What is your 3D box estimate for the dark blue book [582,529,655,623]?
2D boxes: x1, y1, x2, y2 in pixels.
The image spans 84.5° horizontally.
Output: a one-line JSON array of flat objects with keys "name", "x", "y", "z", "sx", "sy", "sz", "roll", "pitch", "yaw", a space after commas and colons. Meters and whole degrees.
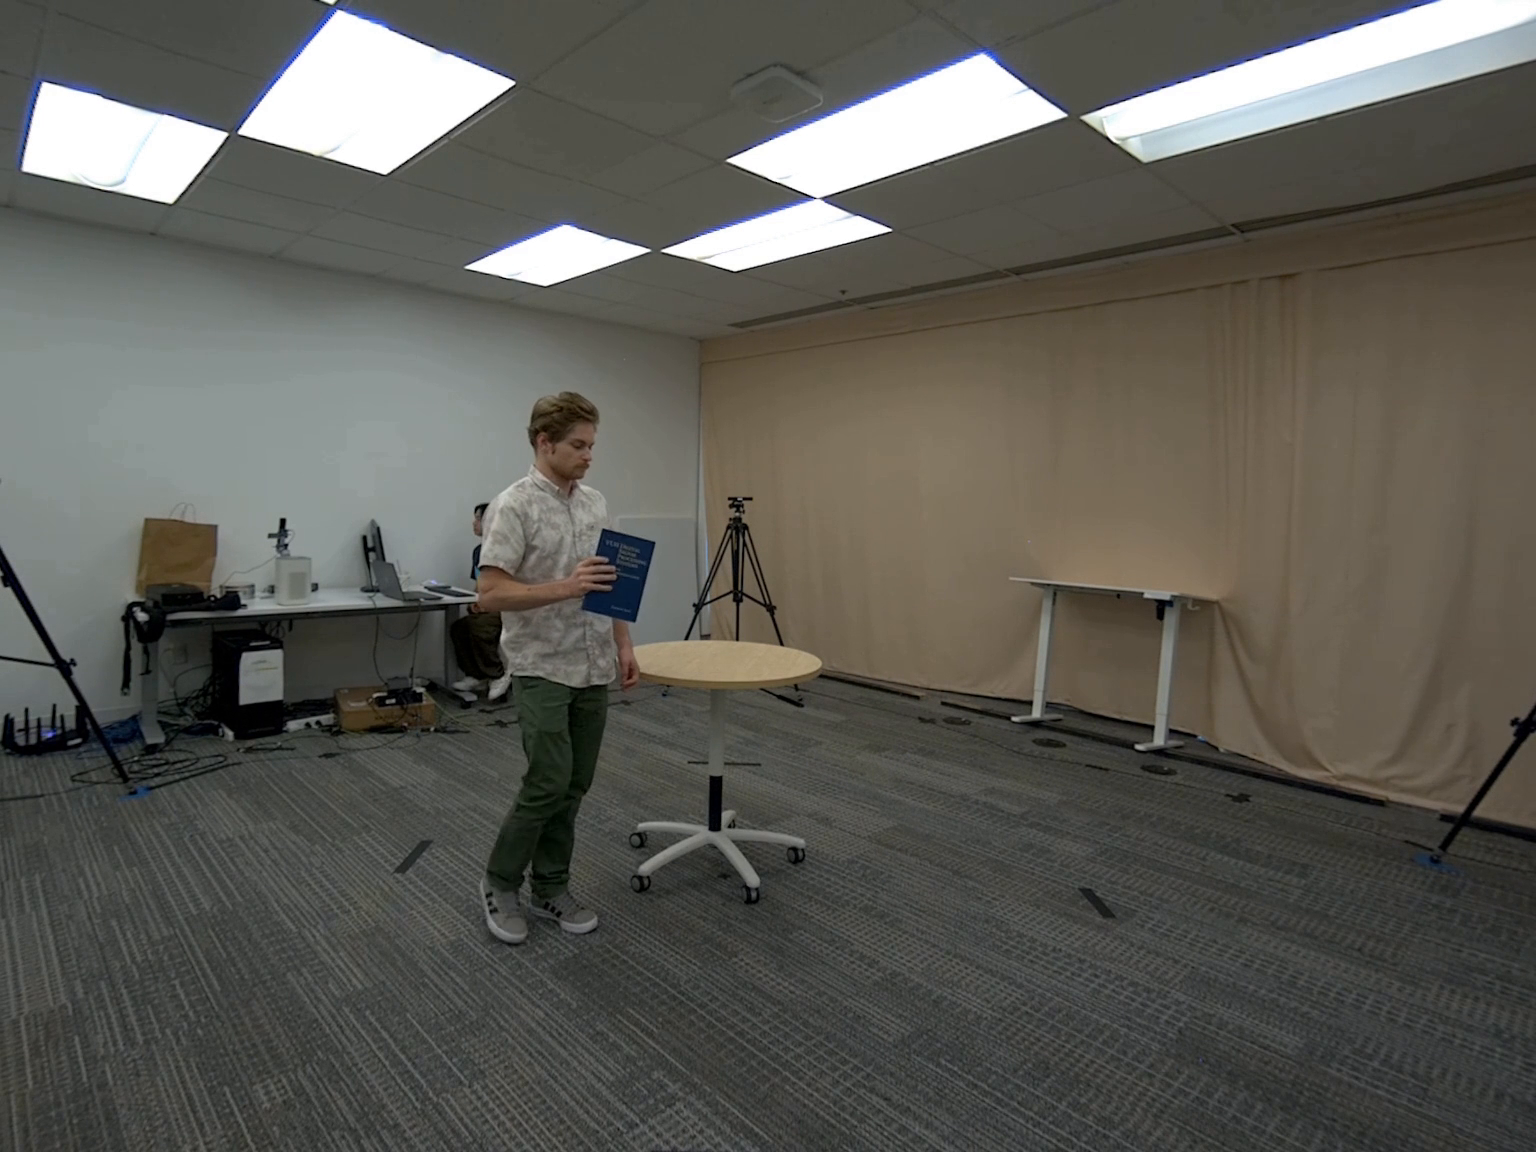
[{"name": "dark blue book", "x": -0.445, "y": -0.001, "z": 2.459, "sx": 0.161, "sy": 0.246, "sz": 0.045, "roll": 14, "pitch": -6, "yaw": -12}]
